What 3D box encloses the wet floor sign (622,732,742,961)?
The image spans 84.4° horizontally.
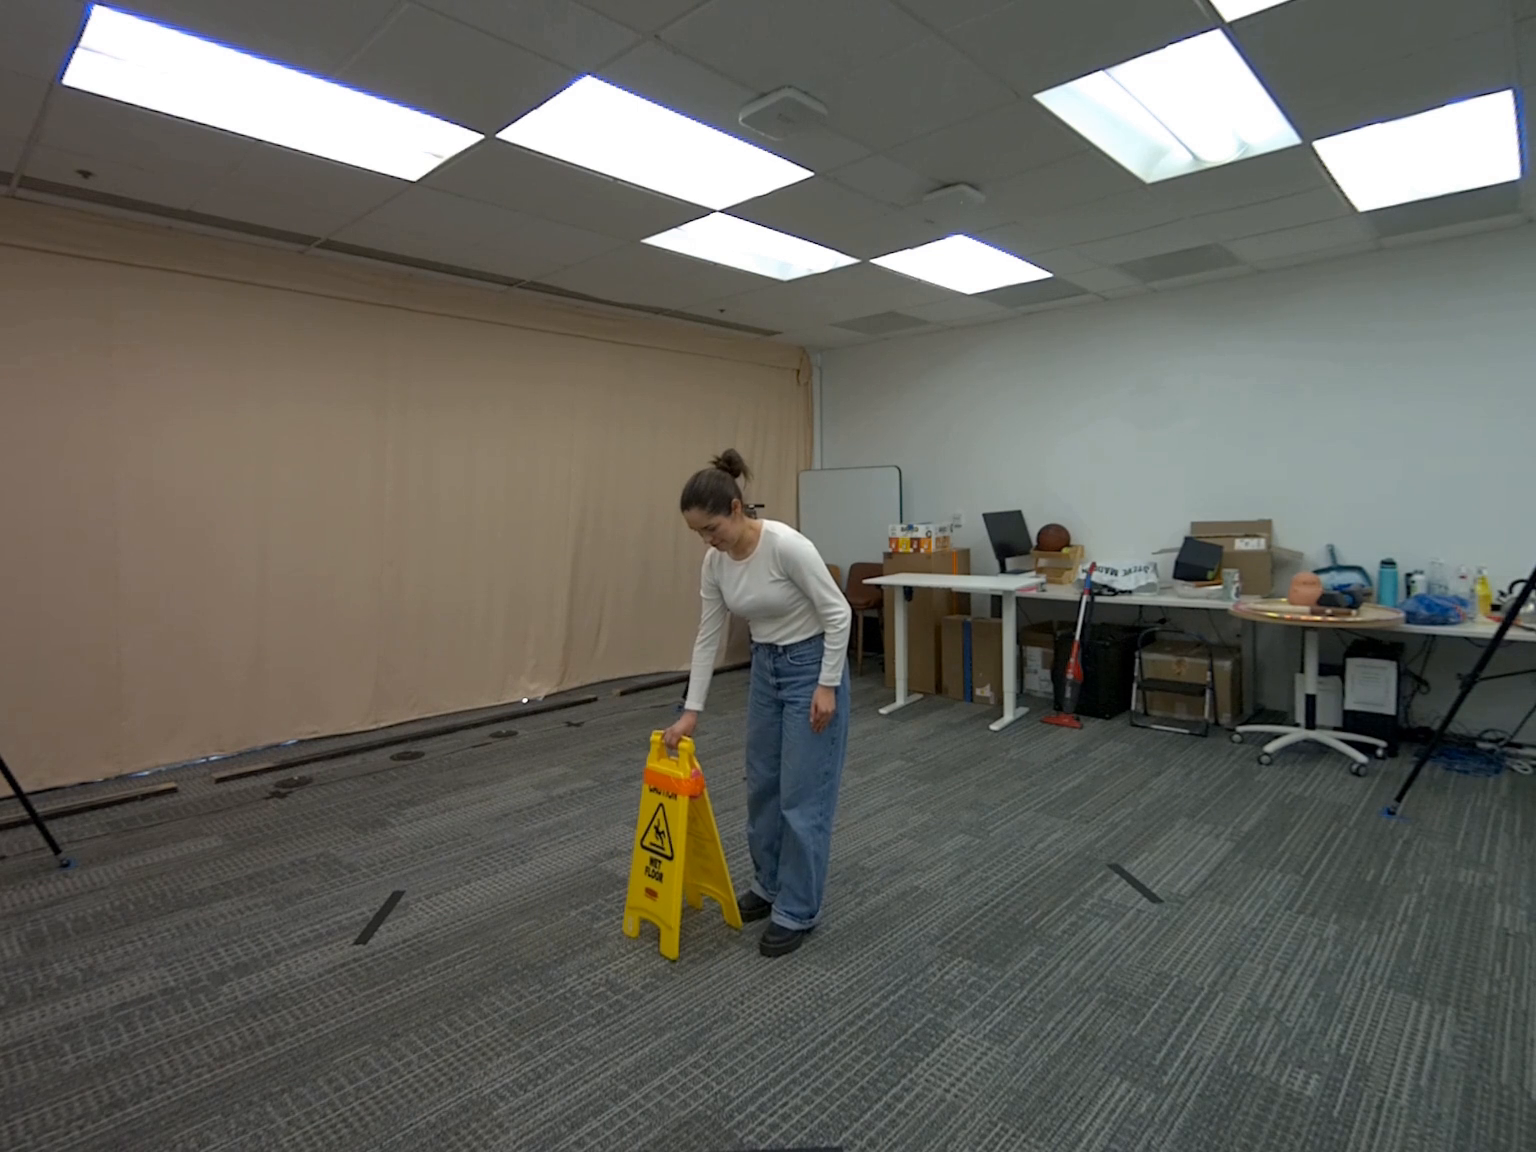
[{"bbox_3d":[-0.295,0.841,2.755,0.281,0.645,0.291,-3,2,-43],"label":"wet floor sign"}]
